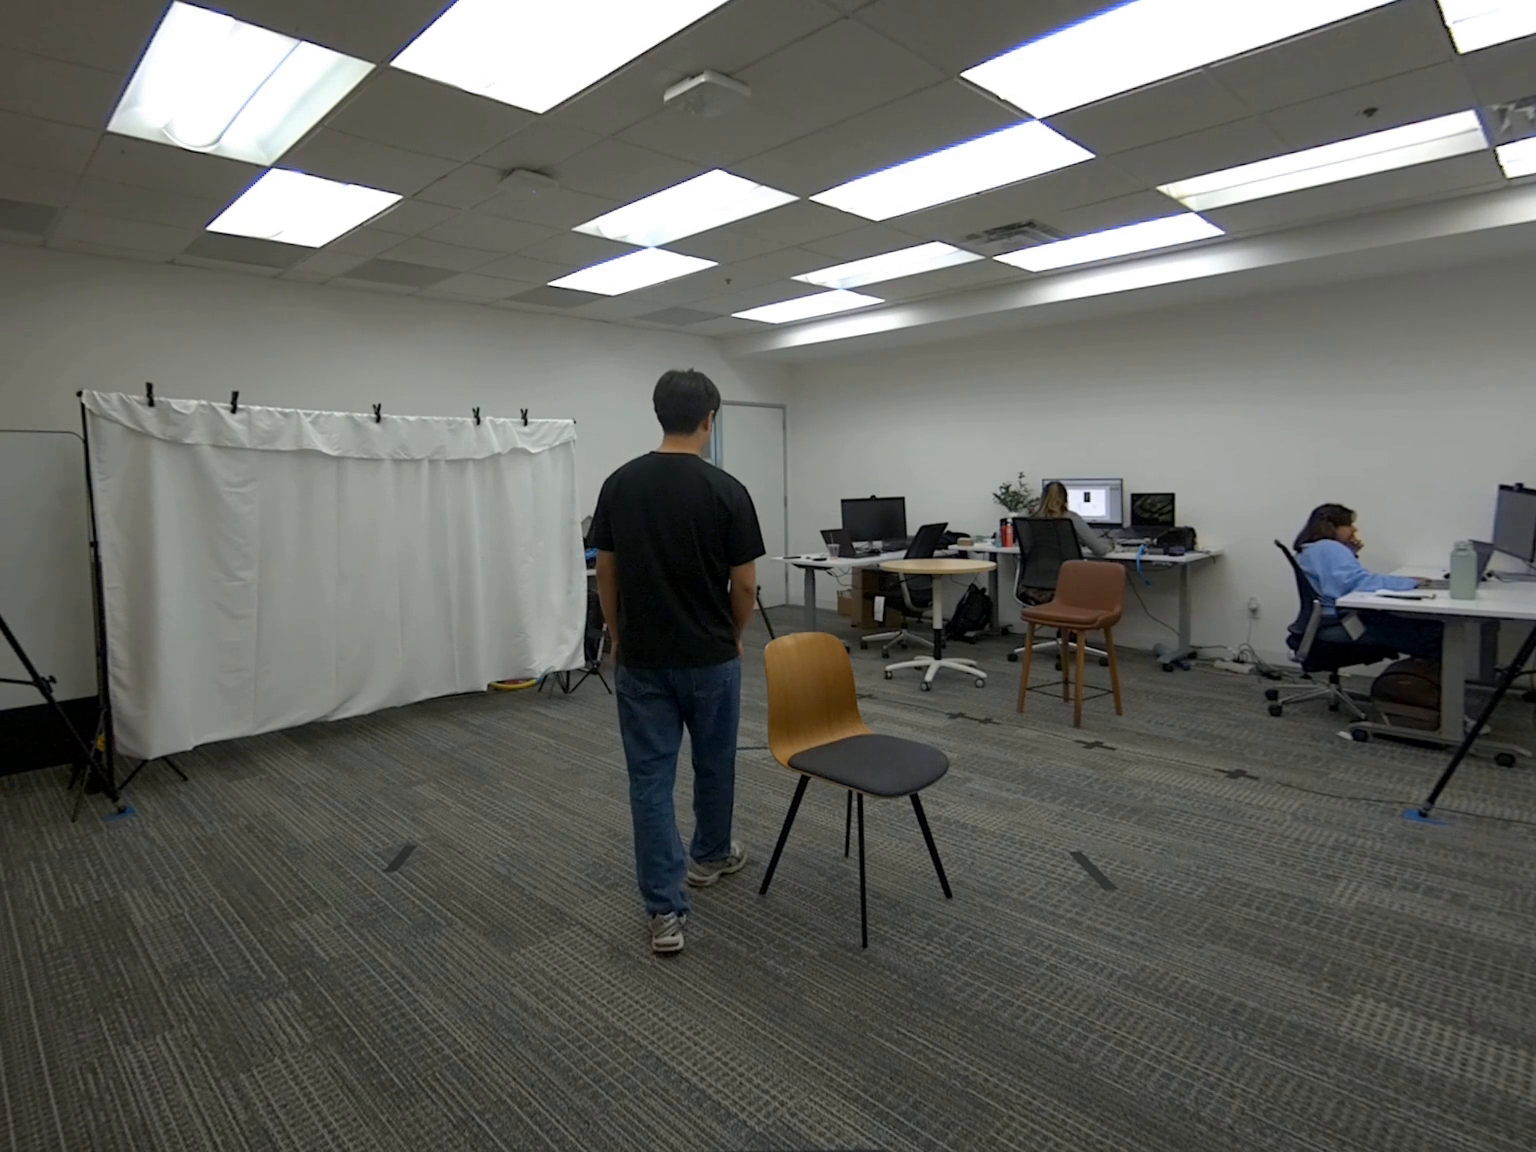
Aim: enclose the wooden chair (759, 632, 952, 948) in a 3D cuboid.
[{"bbox_3d":[0.295,0.643,2.810,0.465,0.877,0.538,-4,1,-43],"label":"wooden chair"}]
